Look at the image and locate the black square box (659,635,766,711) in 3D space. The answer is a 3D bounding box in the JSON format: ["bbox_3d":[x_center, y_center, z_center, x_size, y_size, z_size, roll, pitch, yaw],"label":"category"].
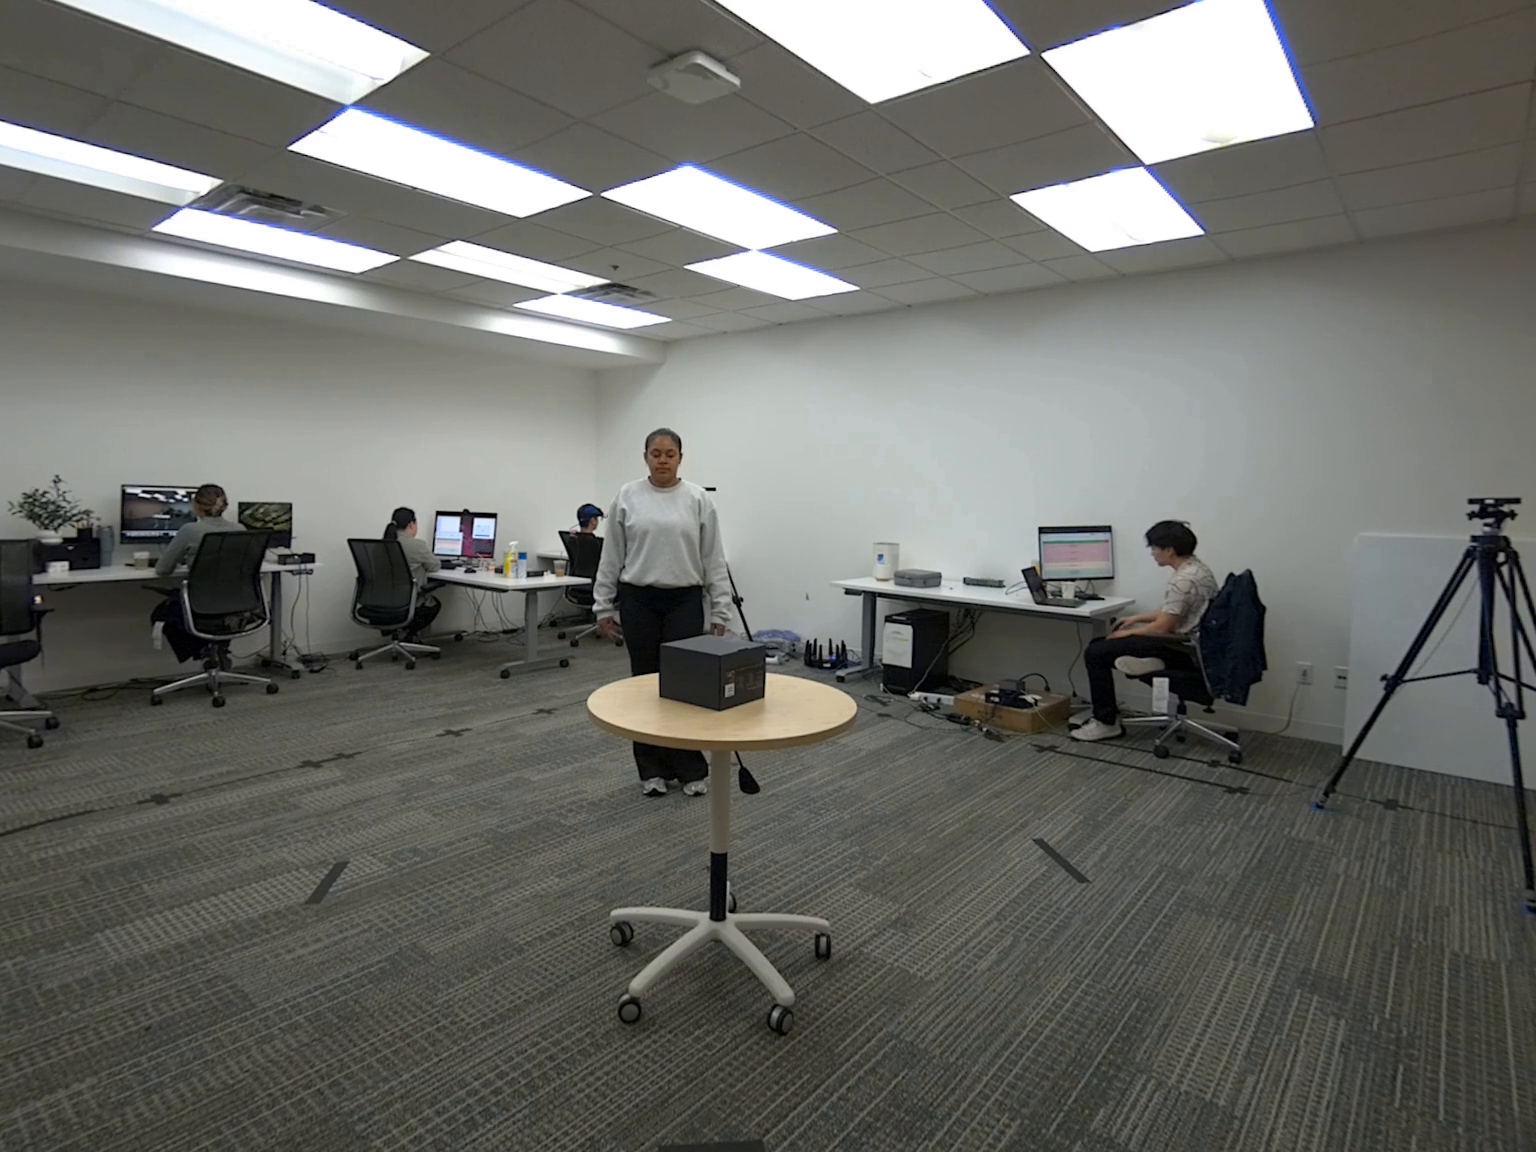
[{"bbox_3d":[-0.167,0.270,2.460,0.235,0.155,0.211,5,6,37],"label":"black square box"}]
